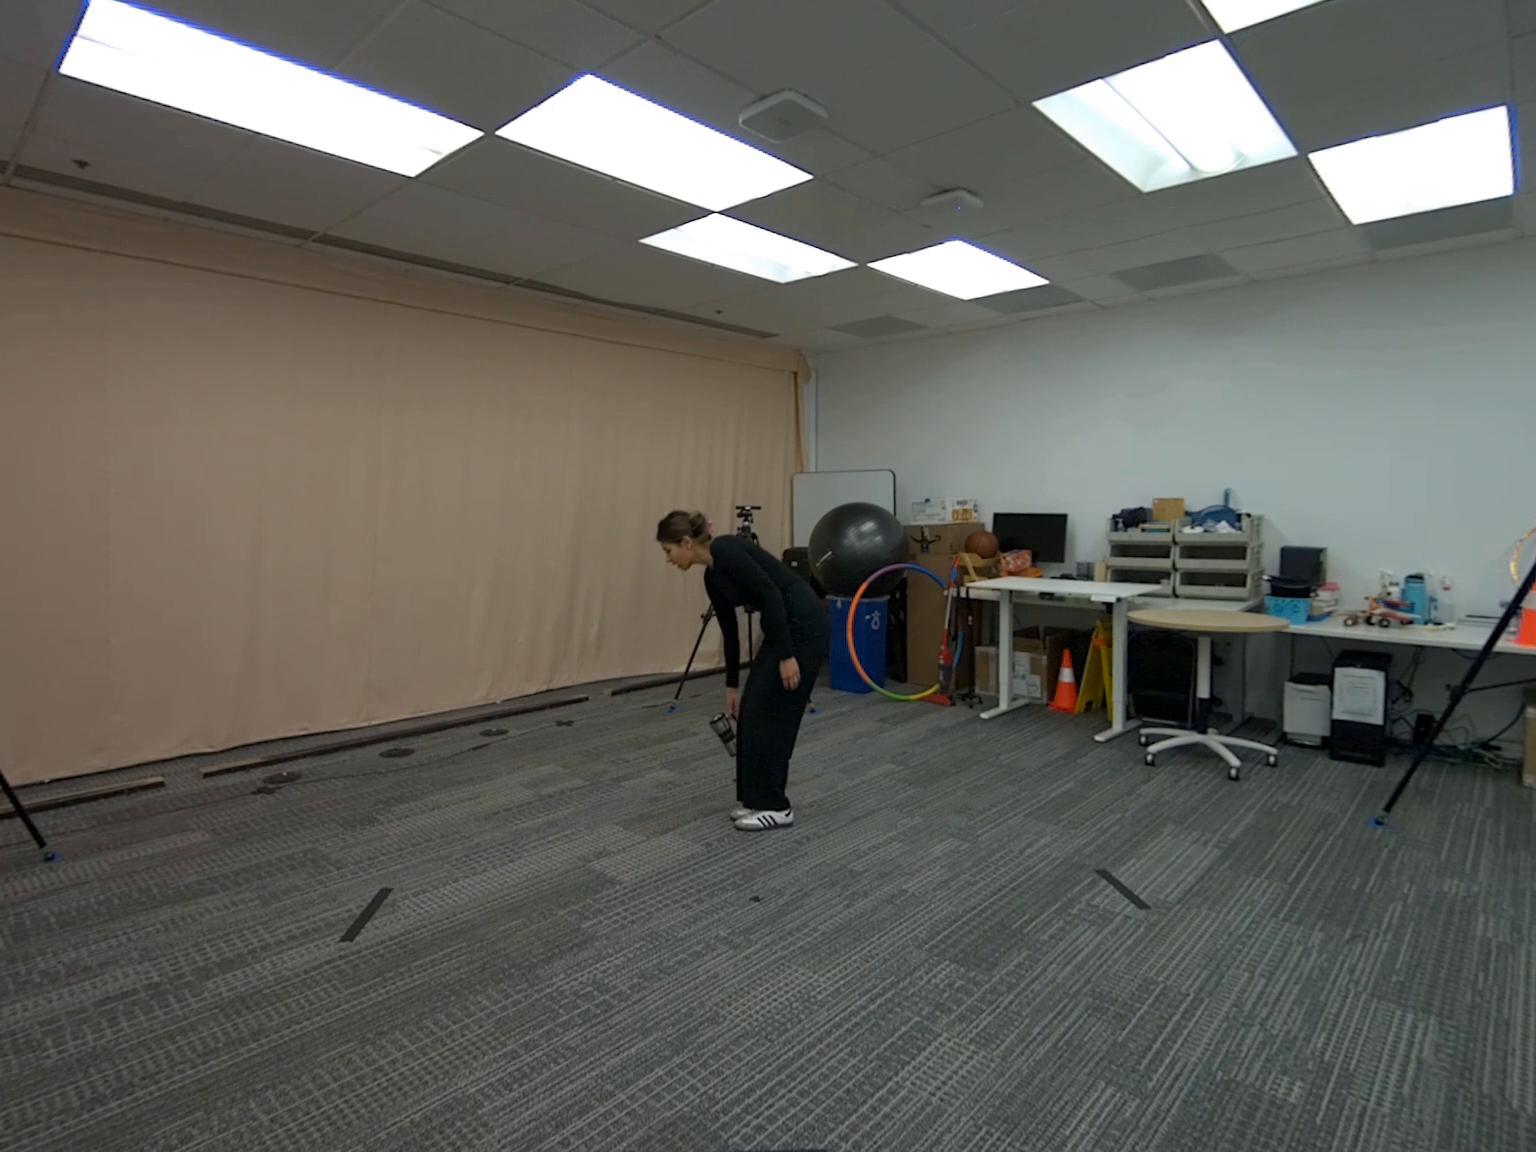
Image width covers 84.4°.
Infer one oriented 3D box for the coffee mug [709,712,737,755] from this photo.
[{"bbox_3d":[-0.184,0.747,3.955,0.086,0.204,0.124,-26,-4,-41],"label":"coffee mug"}]
